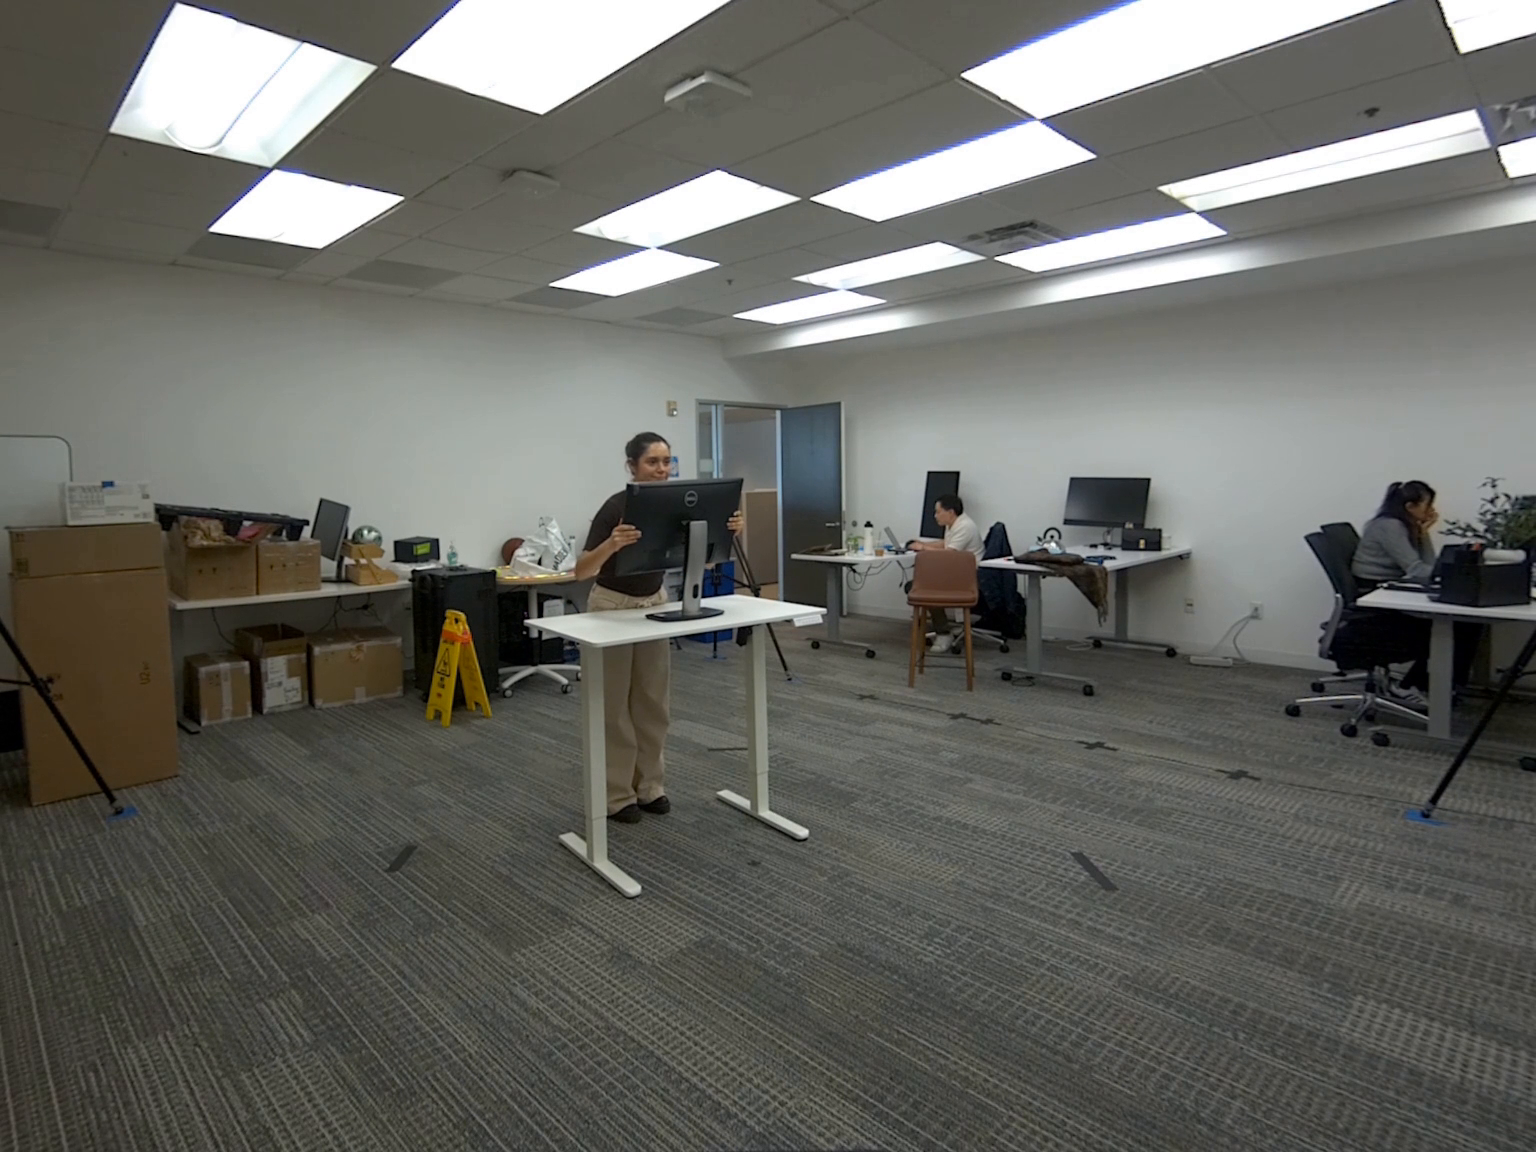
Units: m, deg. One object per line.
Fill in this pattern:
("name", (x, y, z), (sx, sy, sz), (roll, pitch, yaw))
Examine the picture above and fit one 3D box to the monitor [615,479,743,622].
("monitor", (-0.301, -0.100, 3.204), (0.525, 0.519, 0.193), (-7, 11, -42))
